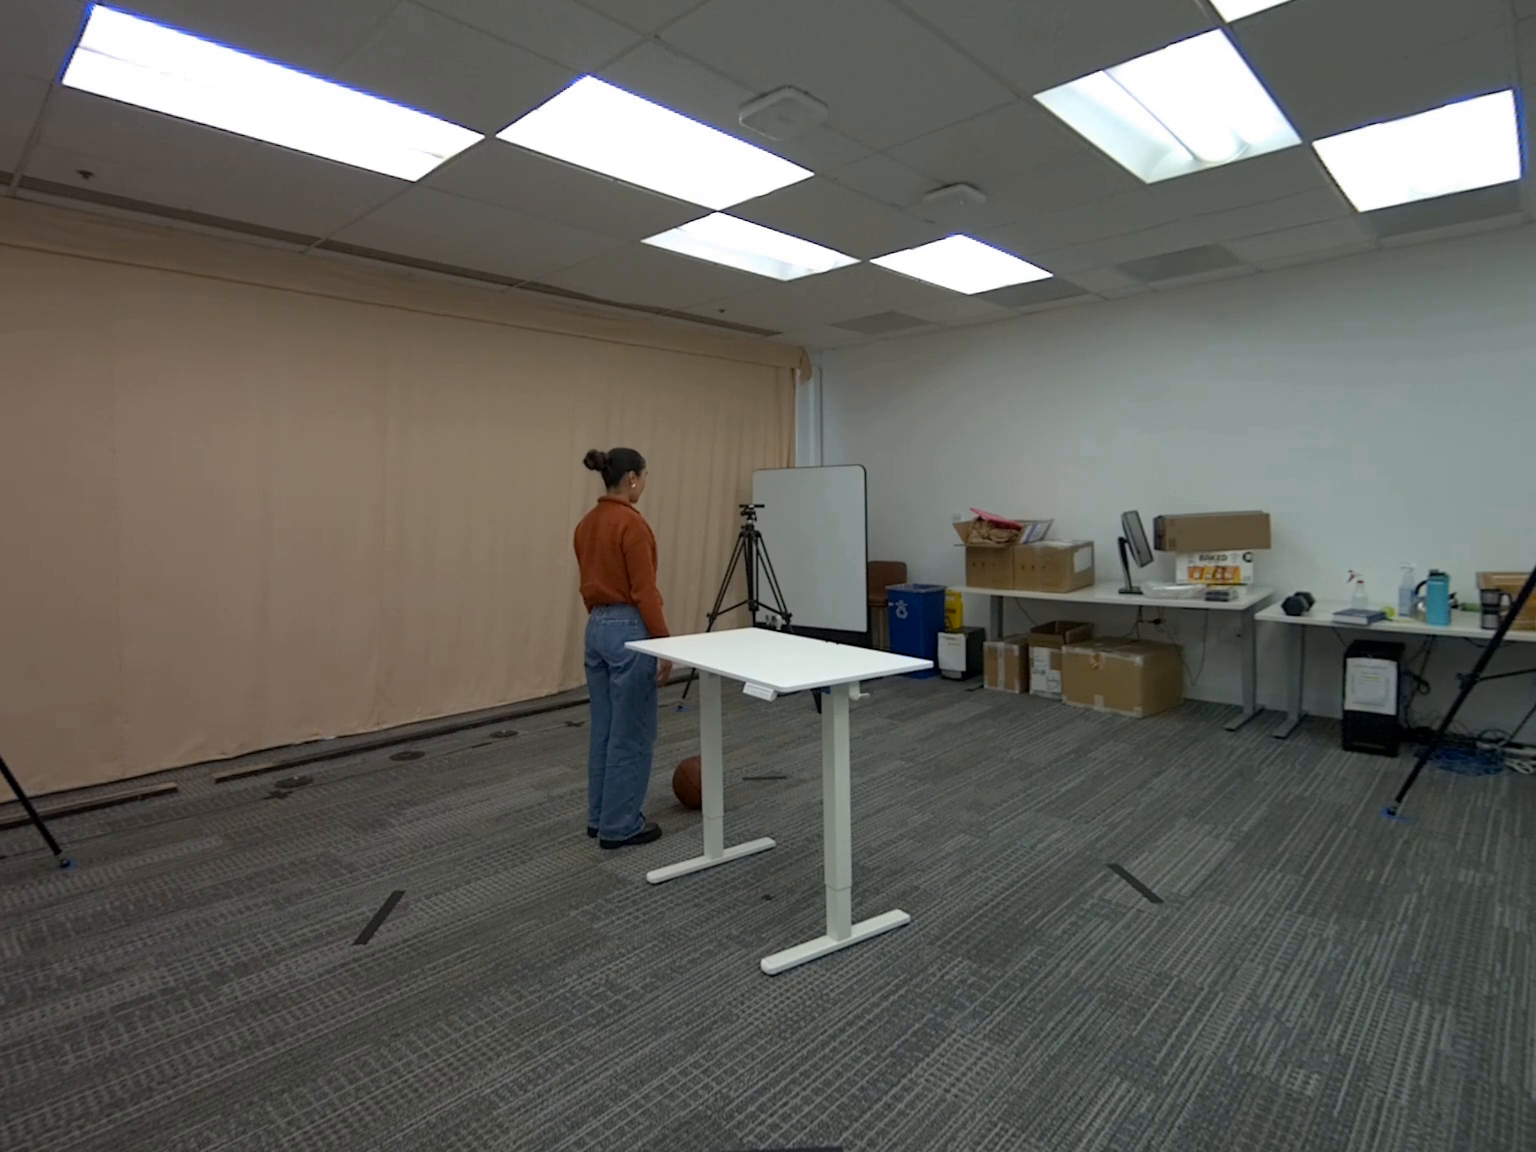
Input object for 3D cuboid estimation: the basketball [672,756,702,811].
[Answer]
[{"bbox_3d":[-0.323,0.941,3.886,0.236,0.235,0.237,-1,4,-2],"label":"basketball"}]
